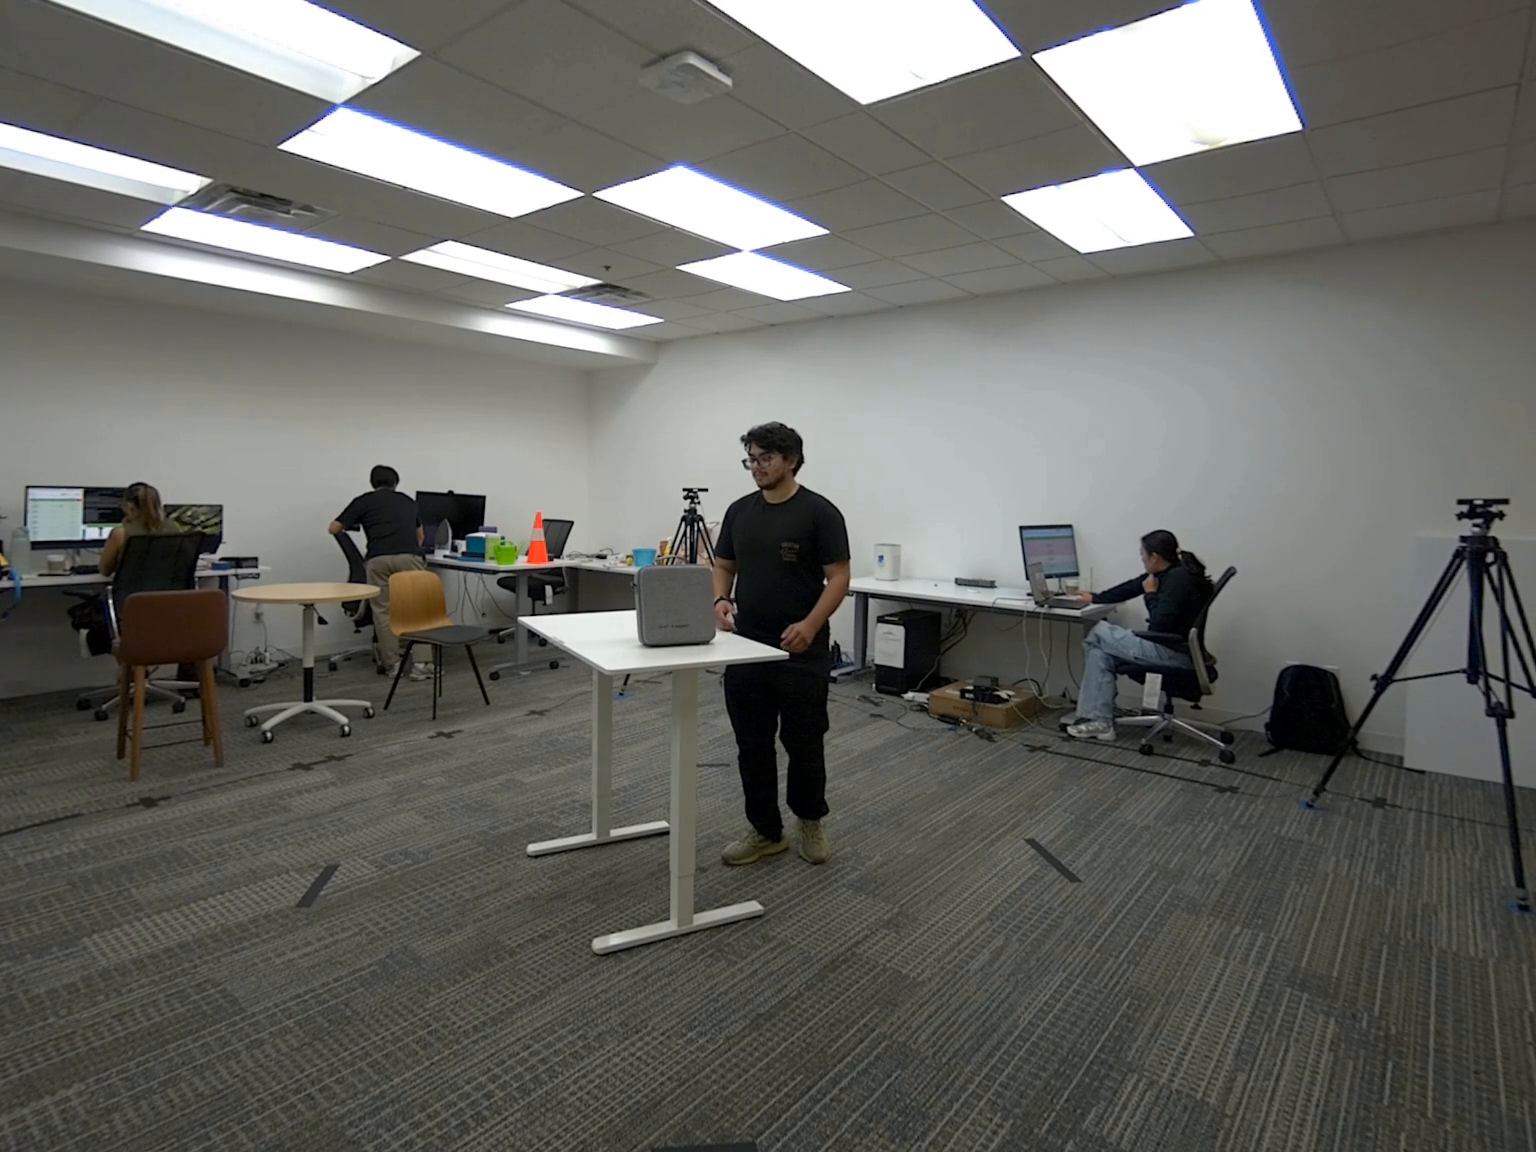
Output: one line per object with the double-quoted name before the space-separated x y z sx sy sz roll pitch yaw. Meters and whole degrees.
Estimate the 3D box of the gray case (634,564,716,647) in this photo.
"gray case" -0.308 0.091 2.780 0.251 0.262 0.106 -2 -5 -21
